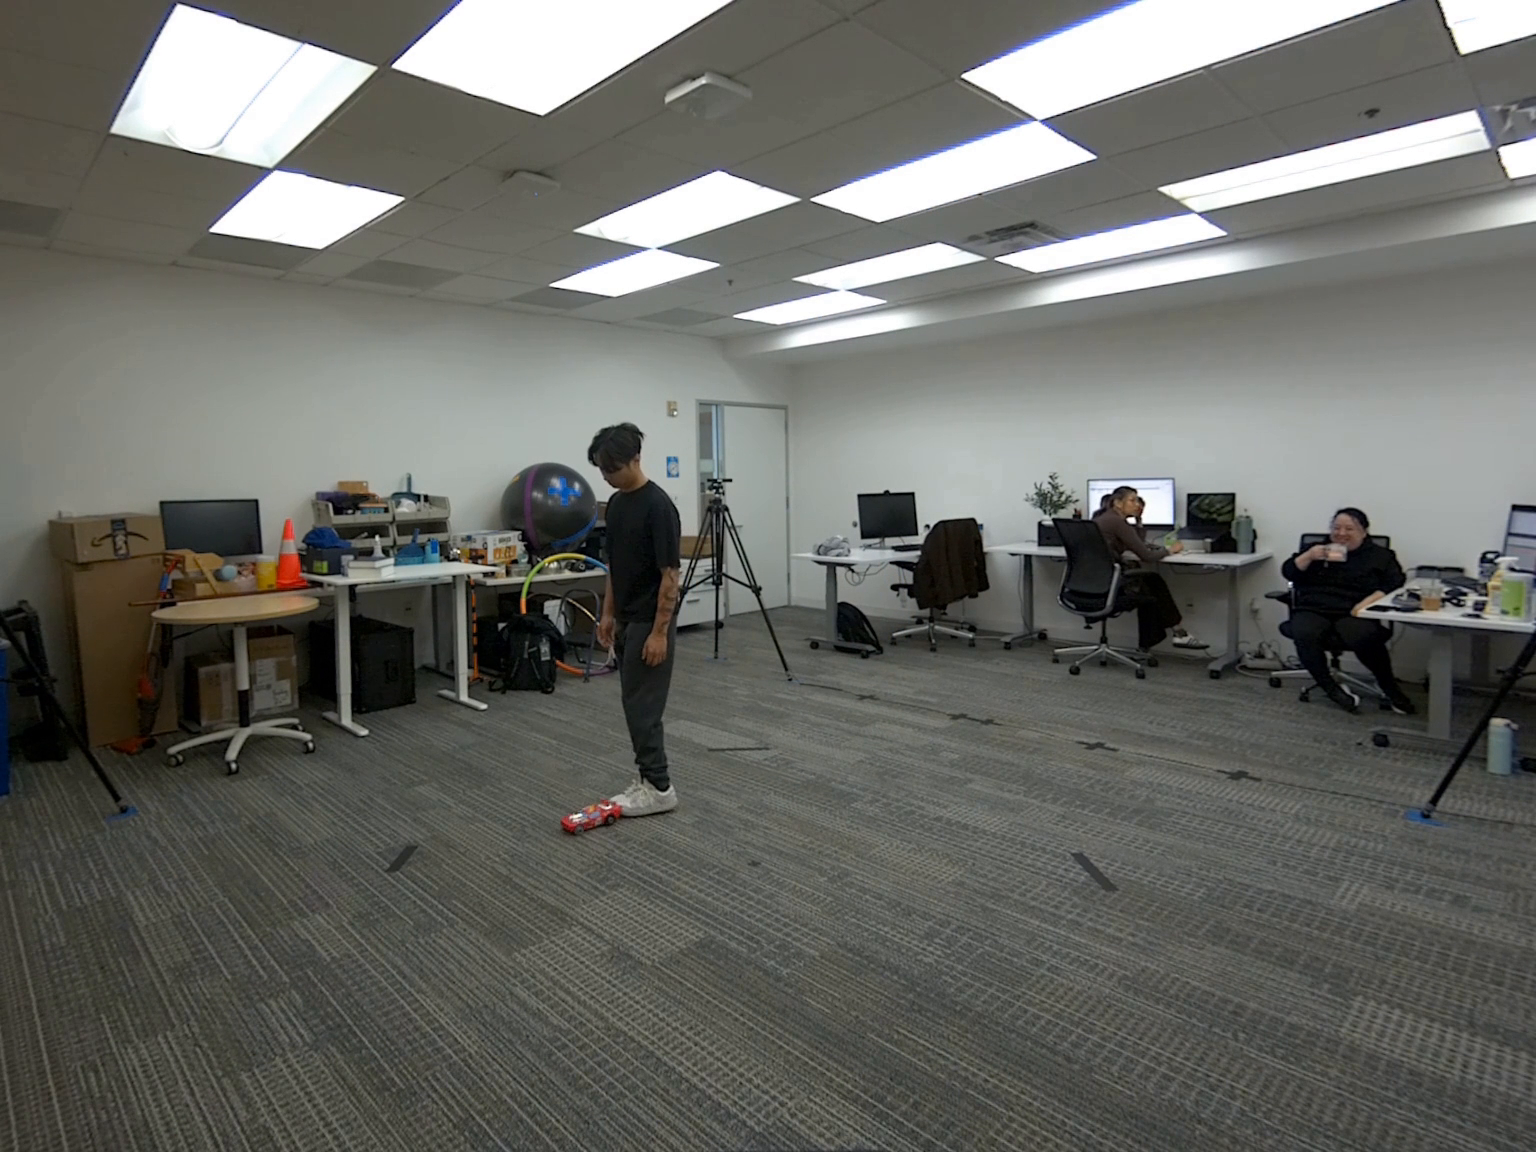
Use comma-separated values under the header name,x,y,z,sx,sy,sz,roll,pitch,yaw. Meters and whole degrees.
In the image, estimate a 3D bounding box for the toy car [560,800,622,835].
name,x,y,z,sx,sy,sz,roll,pitch,yaw
toy car,-0.720,0.983,3.479,0.250,0.082,0.134,-21,16,-37
